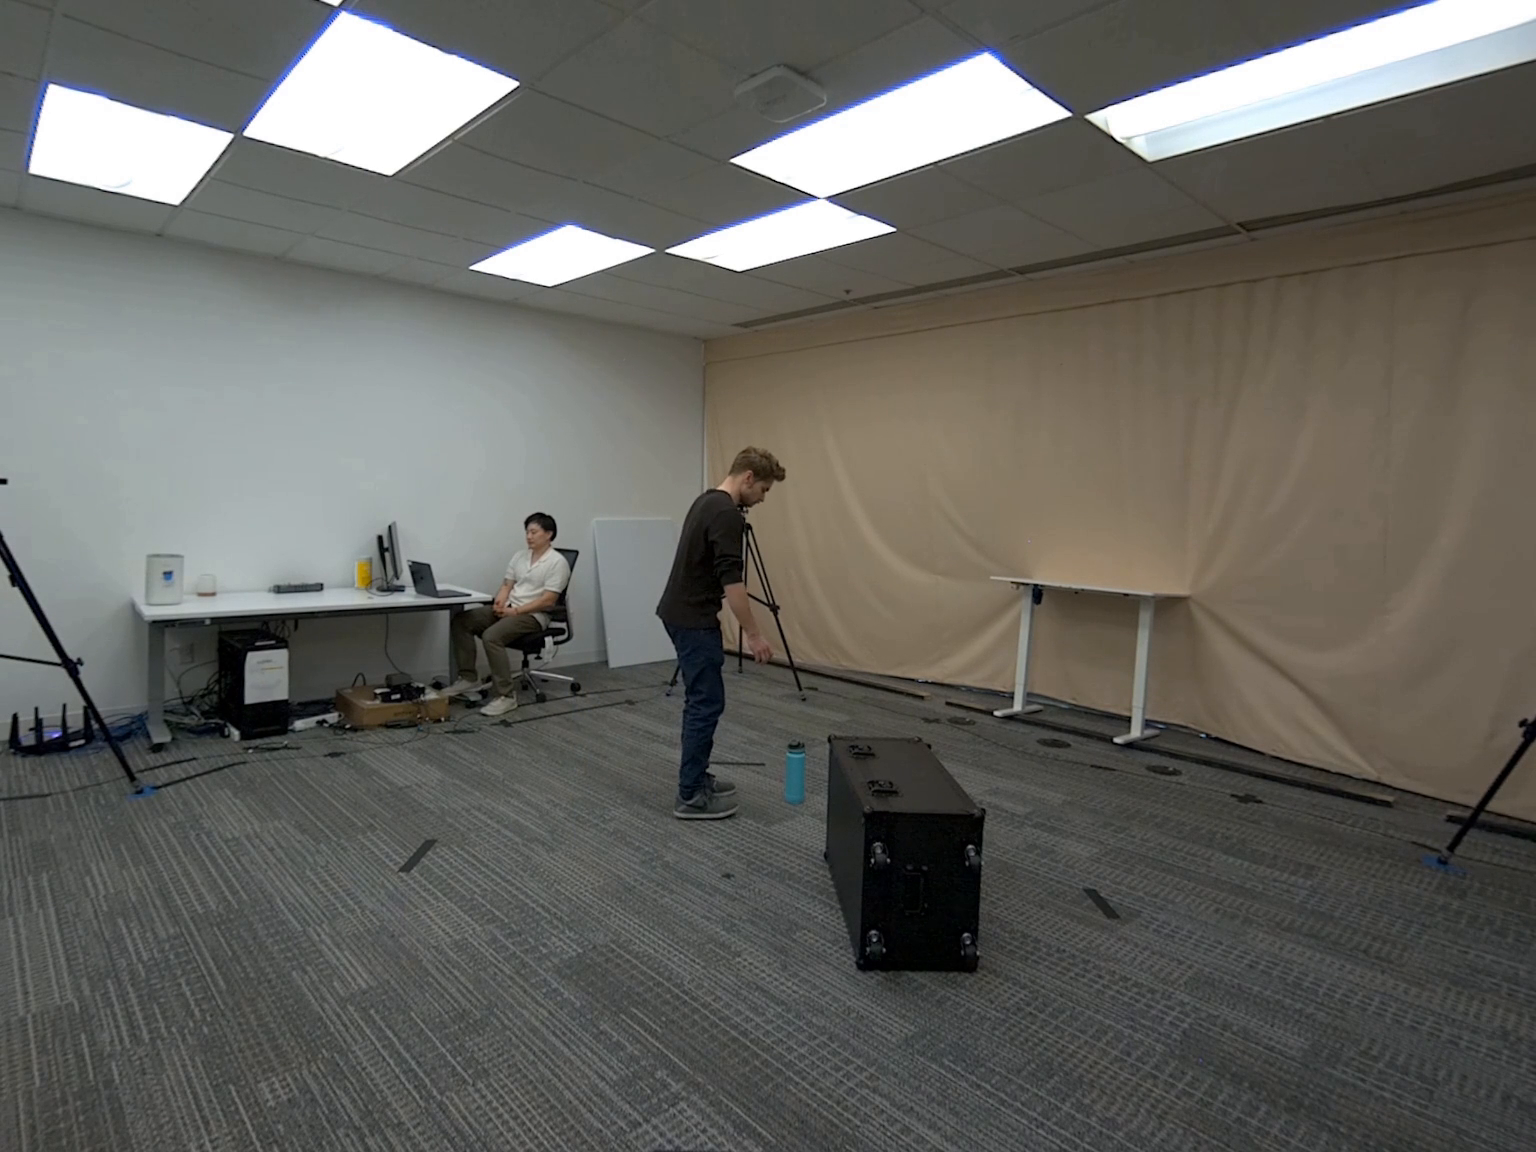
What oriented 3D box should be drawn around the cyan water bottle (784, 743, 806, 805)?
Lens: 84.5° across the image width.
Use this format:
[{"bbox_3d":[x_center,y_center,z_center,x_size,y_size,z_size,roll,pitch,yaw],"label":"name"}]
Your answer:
[{"bbox_3d":[0.116,0.902,3.920,0.092,0.283,0.092,3,2,-2],"label":"cyan water bottle"}]
